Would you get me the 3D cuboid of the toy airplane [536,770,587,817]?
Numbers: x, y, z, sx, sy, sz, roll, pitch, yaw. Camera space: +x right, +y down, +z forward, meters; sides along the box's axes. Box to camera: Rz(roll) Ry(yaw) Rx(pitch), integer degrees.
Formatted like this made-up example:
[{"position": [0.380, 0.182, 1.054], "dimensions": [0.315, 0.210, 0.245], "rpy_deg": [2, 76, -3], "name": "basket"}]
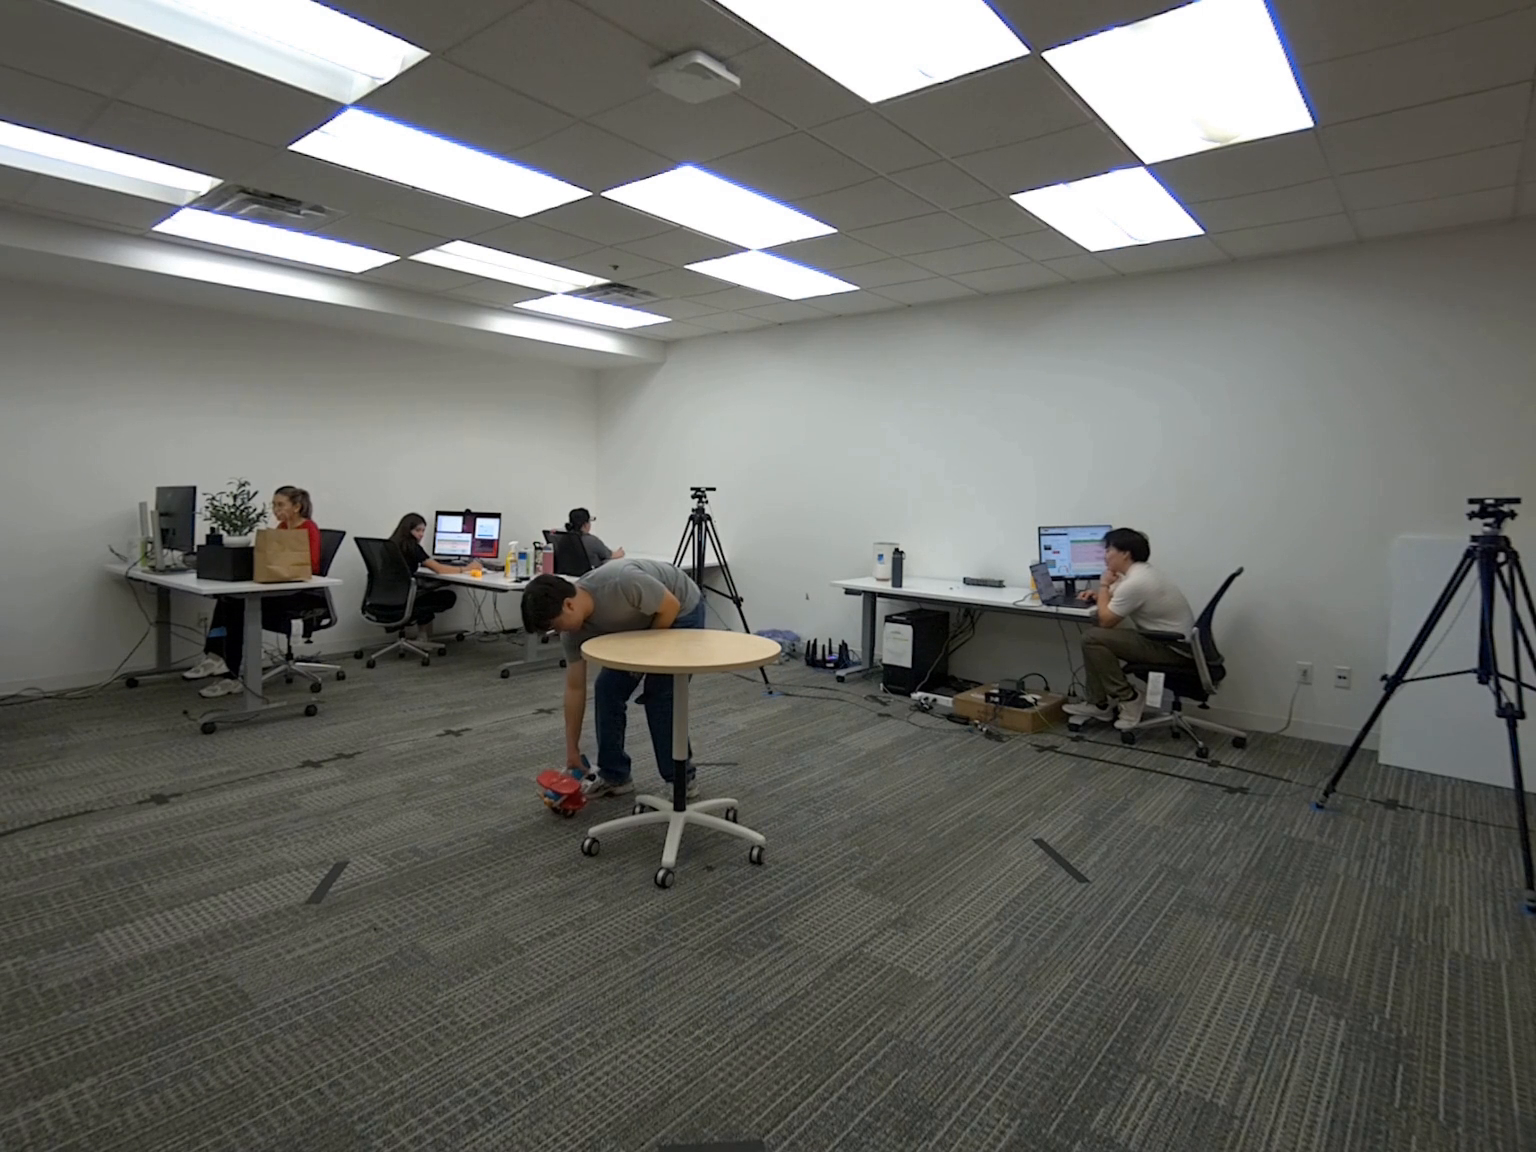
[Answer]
[{"position": [-0.870, 0.891, 3.632], "dimensions": [0.254, 0.151, 0.266], "rpy_deg": [-16, 37, 16], "name": "toy airplane"}]
